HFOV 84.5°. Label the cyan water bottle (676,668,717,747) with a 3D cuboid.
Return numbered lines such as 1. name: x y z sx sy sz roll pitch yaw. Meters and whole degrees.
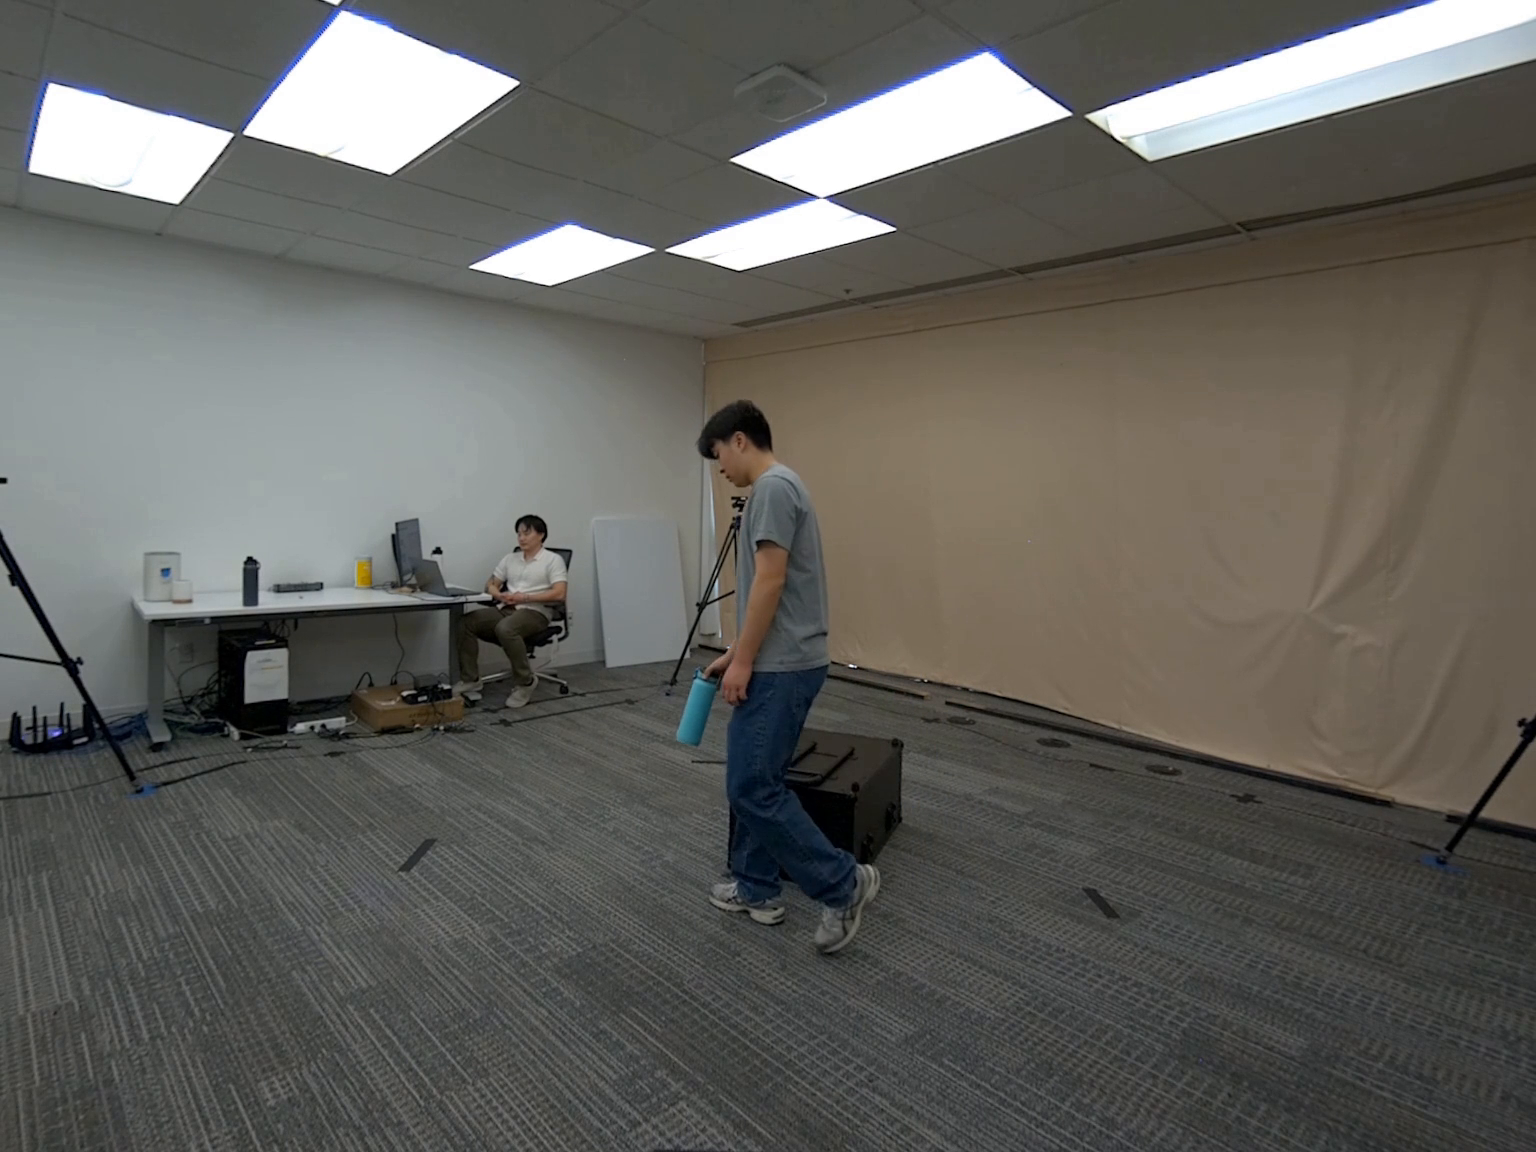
1. cyan water bottle: -0.242 0.454 2.985 0.092 0.283 0.092 13 0 -2
